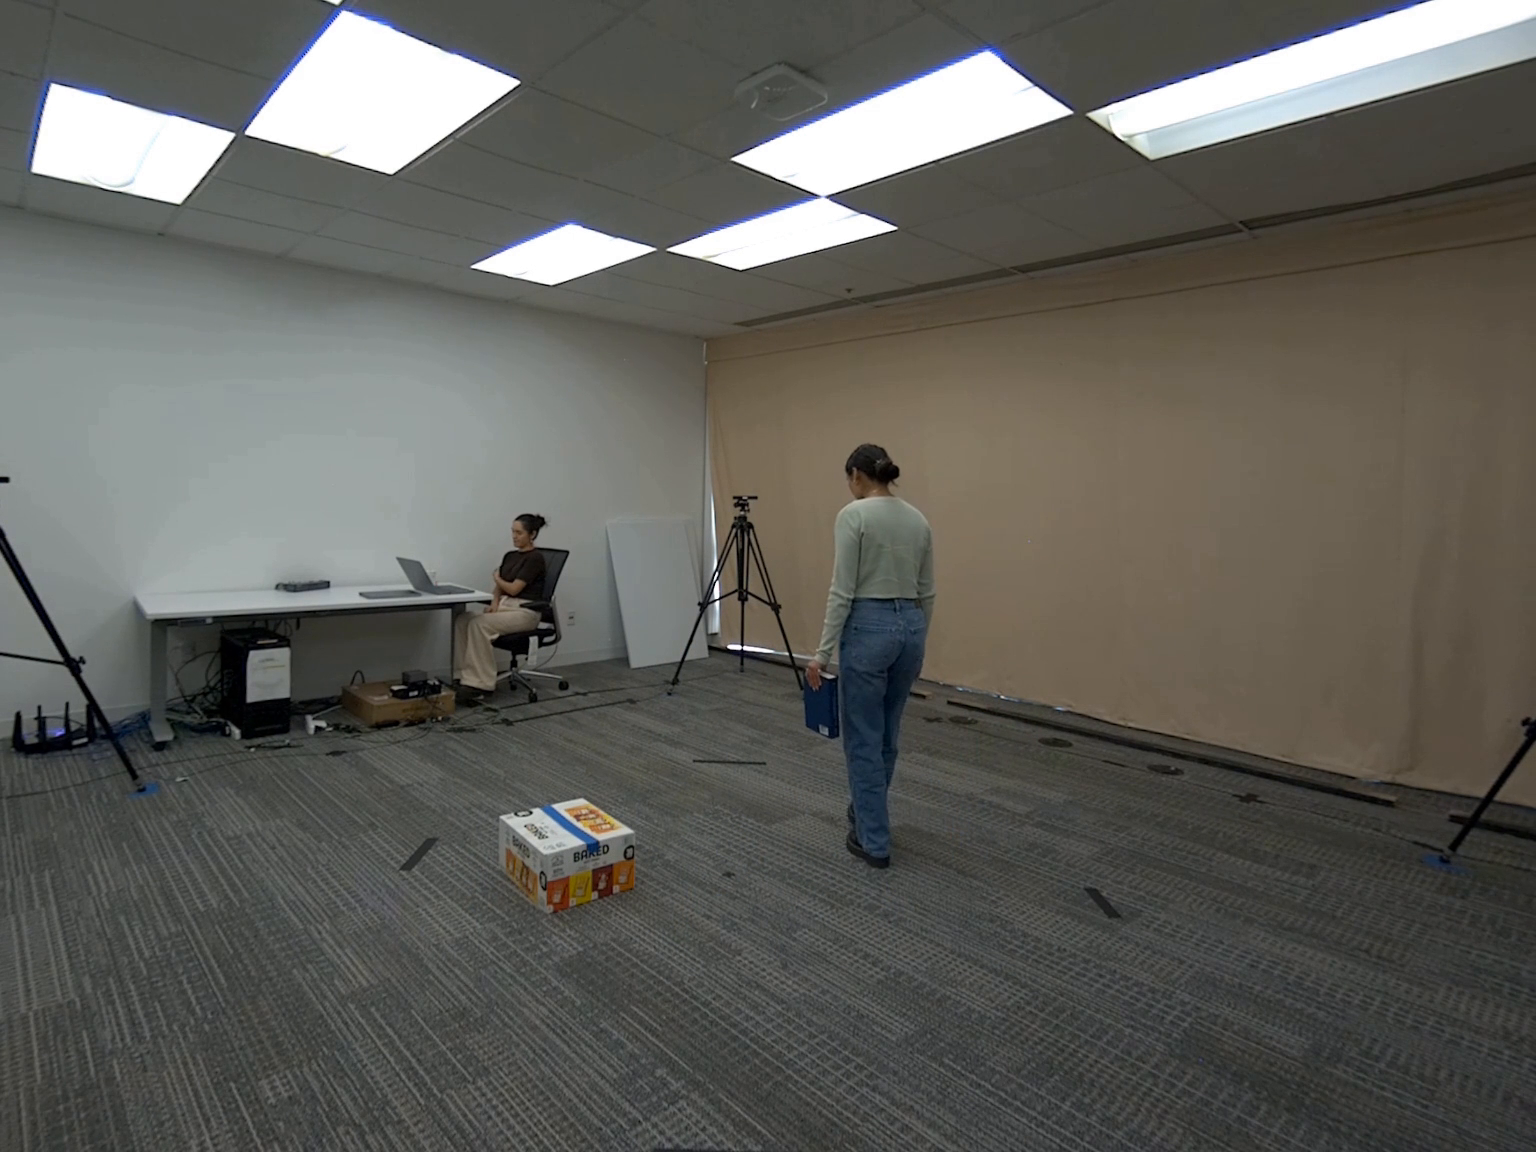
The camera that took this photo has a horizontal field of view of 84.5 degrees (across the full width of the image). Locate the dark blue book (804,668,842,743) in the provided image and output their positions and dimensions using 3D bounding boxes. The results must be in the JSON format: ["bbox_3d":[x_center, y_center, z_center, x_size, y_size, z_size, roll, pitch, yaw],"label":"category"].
[{"bbox_3d":[0.207,0.487,3.239,0.044,0.243,0.168,-9,14,-33],"label":"dark blue book"}]
